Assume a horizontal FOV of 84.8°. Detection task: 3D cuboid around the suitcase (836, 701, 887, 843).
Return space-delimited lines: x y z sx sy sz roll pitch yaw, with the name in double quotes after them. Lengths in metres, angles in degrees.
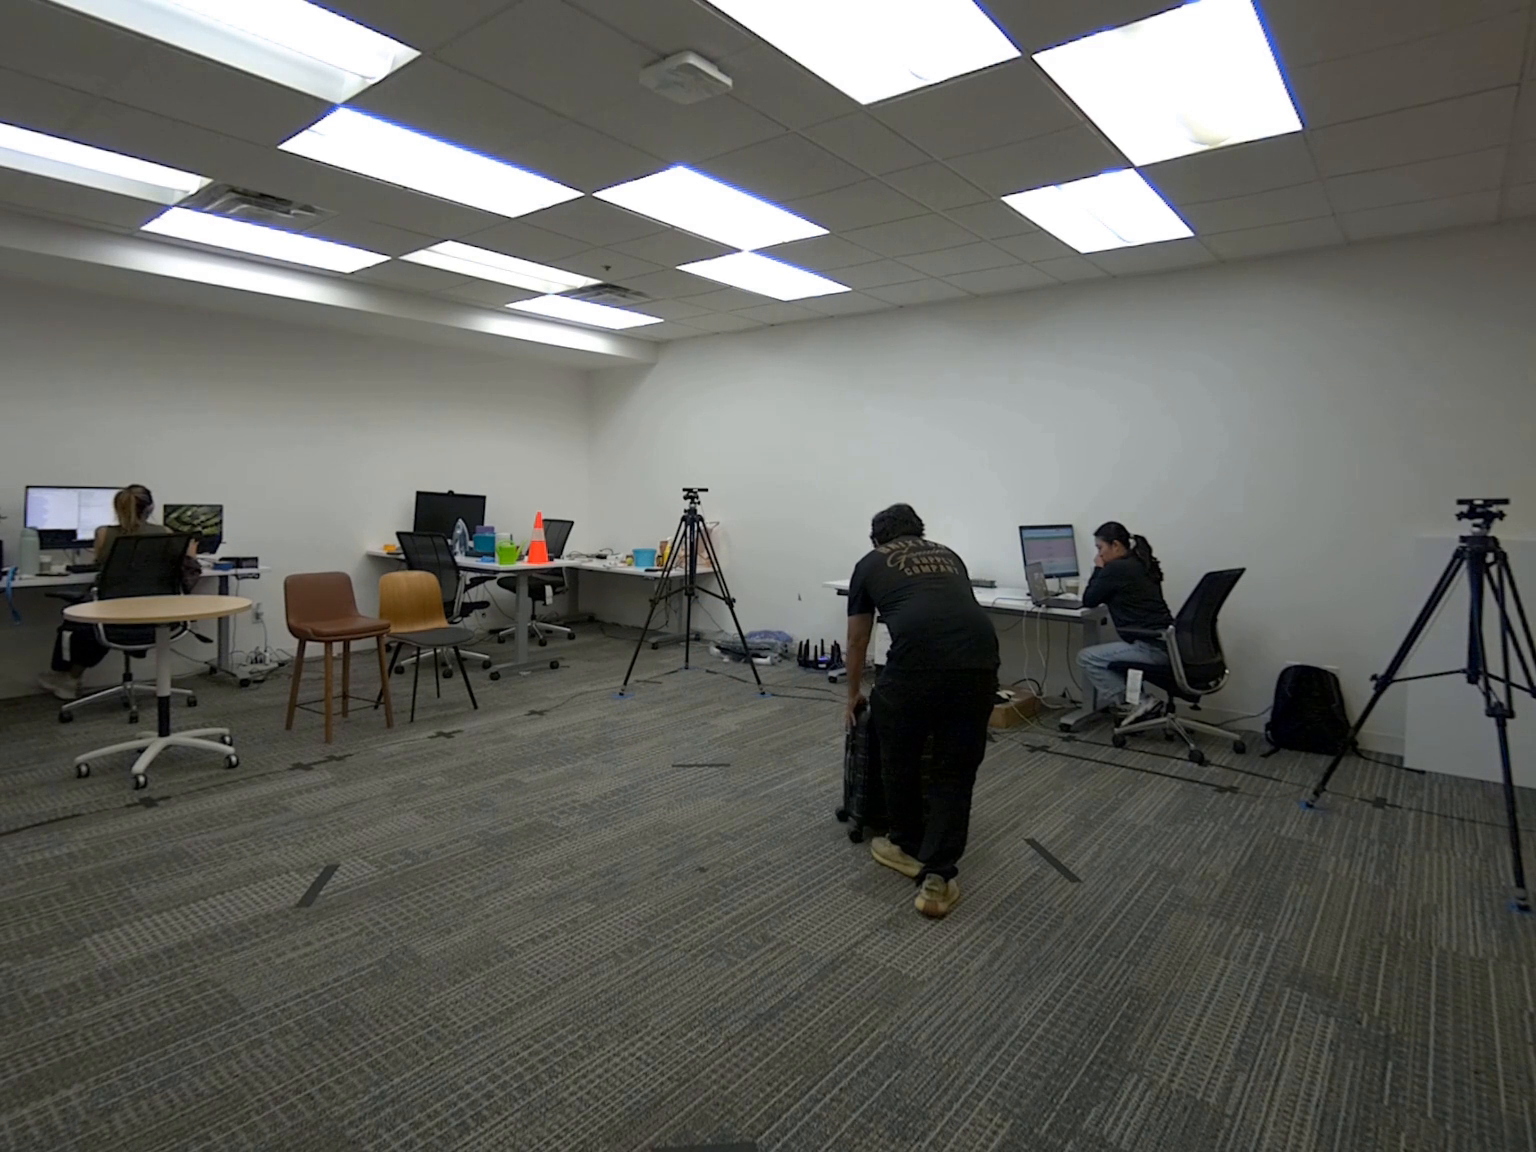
0.498 0.770 3.499 0.373 0.547 0.251 2 5 -7 "suitcase"
